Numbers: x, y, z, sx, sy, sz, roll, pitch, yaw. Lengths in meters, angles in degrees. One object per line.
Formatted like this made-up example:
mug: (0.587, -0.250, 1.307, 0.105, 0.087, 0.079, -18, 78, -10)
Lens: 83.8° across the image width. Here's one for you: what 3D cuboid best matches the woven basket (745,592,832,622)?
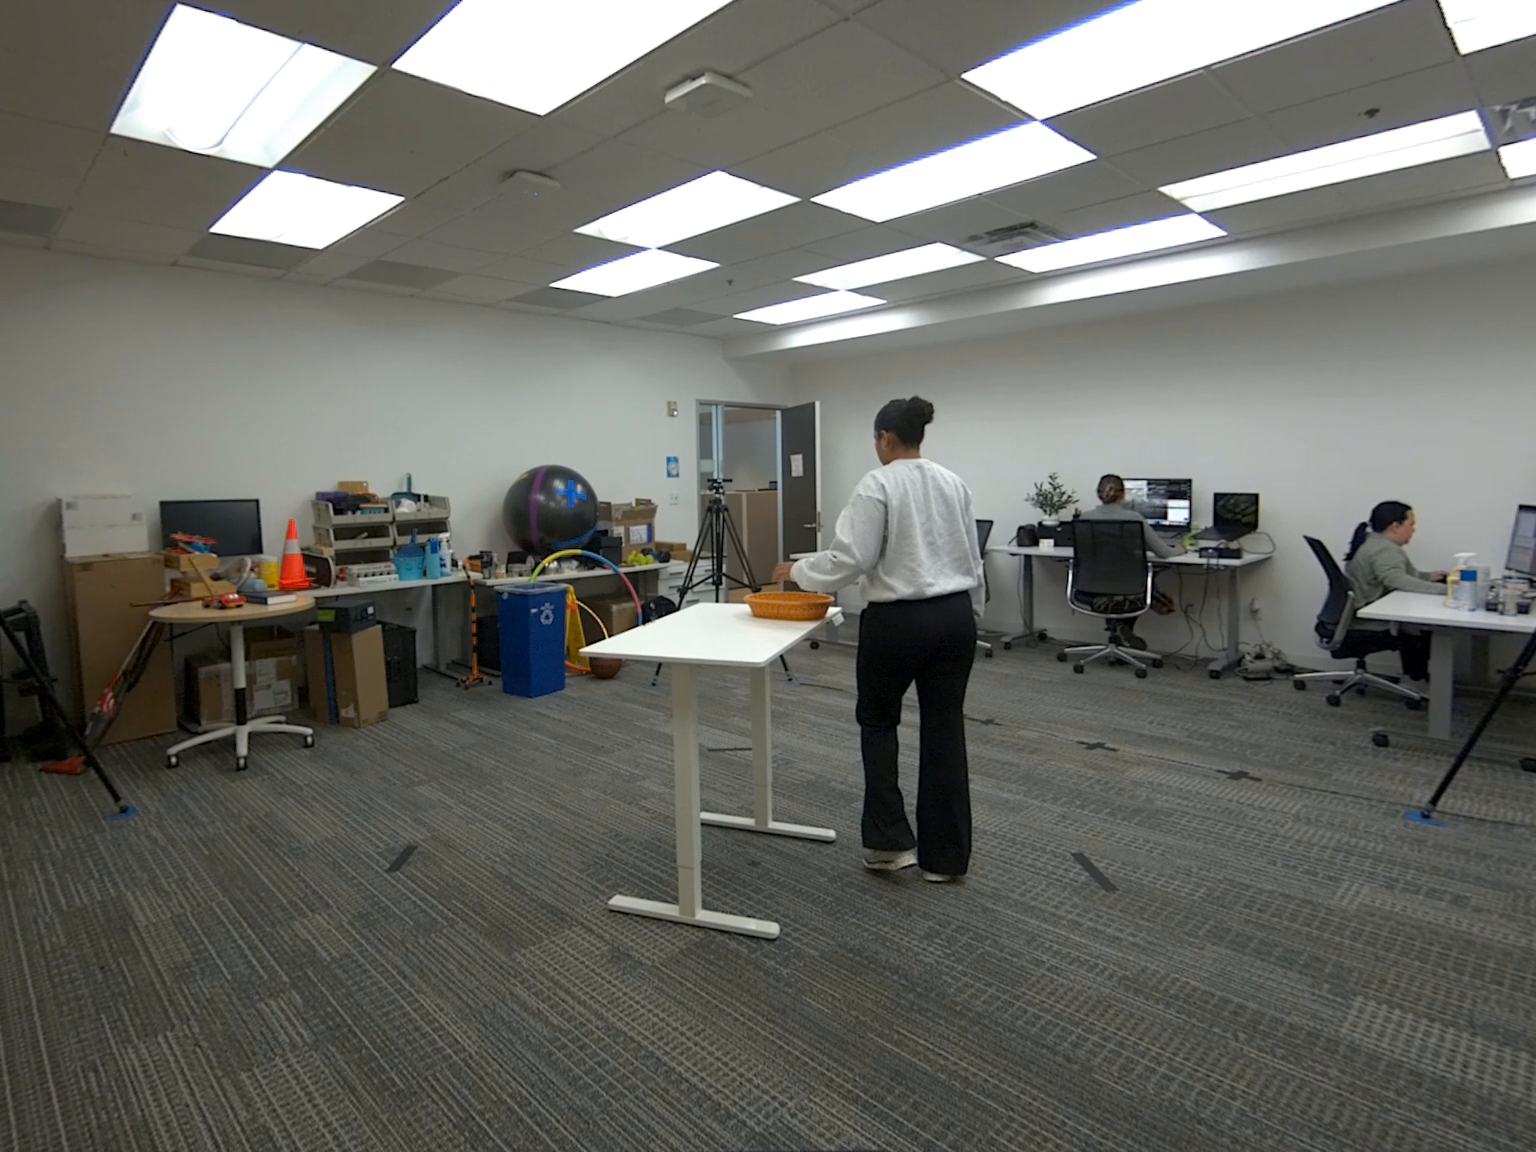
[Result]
woven basket: (0.089, 0.117, 3.187, 0.360, 0.073, 0.247, 3, 8, 32)
